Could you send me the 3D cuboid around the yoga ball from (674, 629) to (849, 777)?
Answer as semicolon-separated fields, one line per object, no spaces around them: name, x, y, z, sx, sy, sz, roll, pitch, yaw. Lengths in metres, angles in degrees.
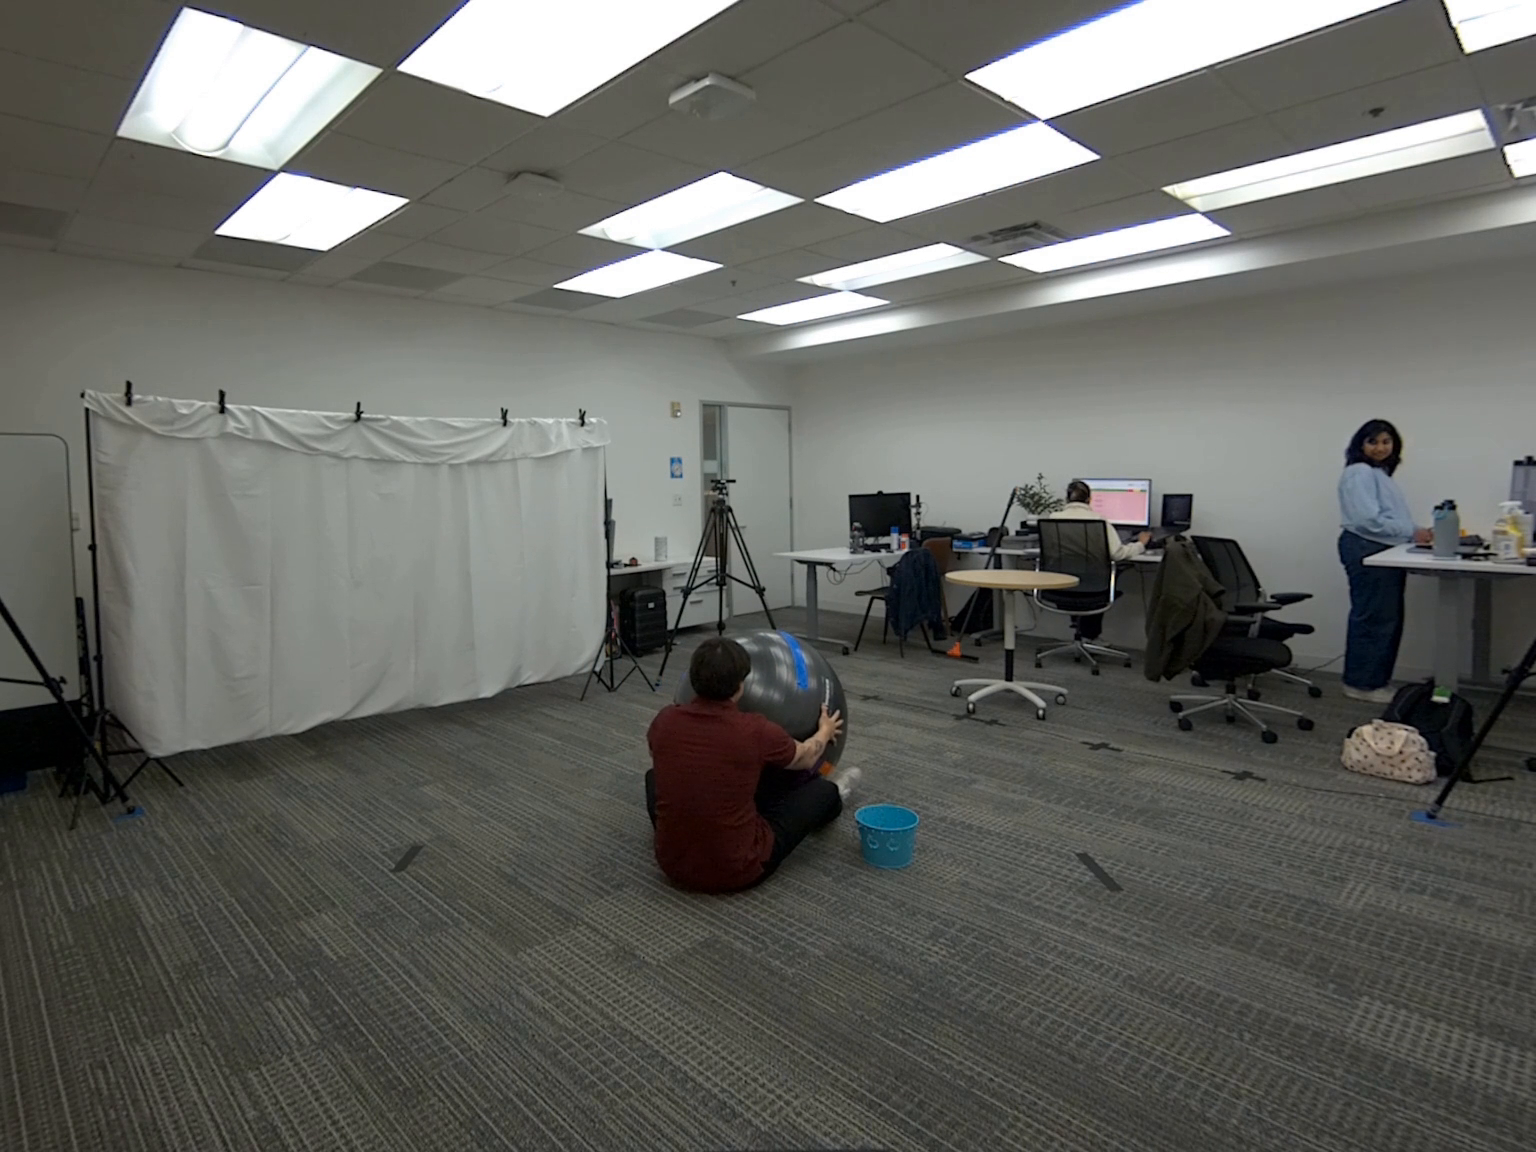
yoga ball;-0.034;0.610;3.684;0.757;0.755;0.762;-1;5;-2
